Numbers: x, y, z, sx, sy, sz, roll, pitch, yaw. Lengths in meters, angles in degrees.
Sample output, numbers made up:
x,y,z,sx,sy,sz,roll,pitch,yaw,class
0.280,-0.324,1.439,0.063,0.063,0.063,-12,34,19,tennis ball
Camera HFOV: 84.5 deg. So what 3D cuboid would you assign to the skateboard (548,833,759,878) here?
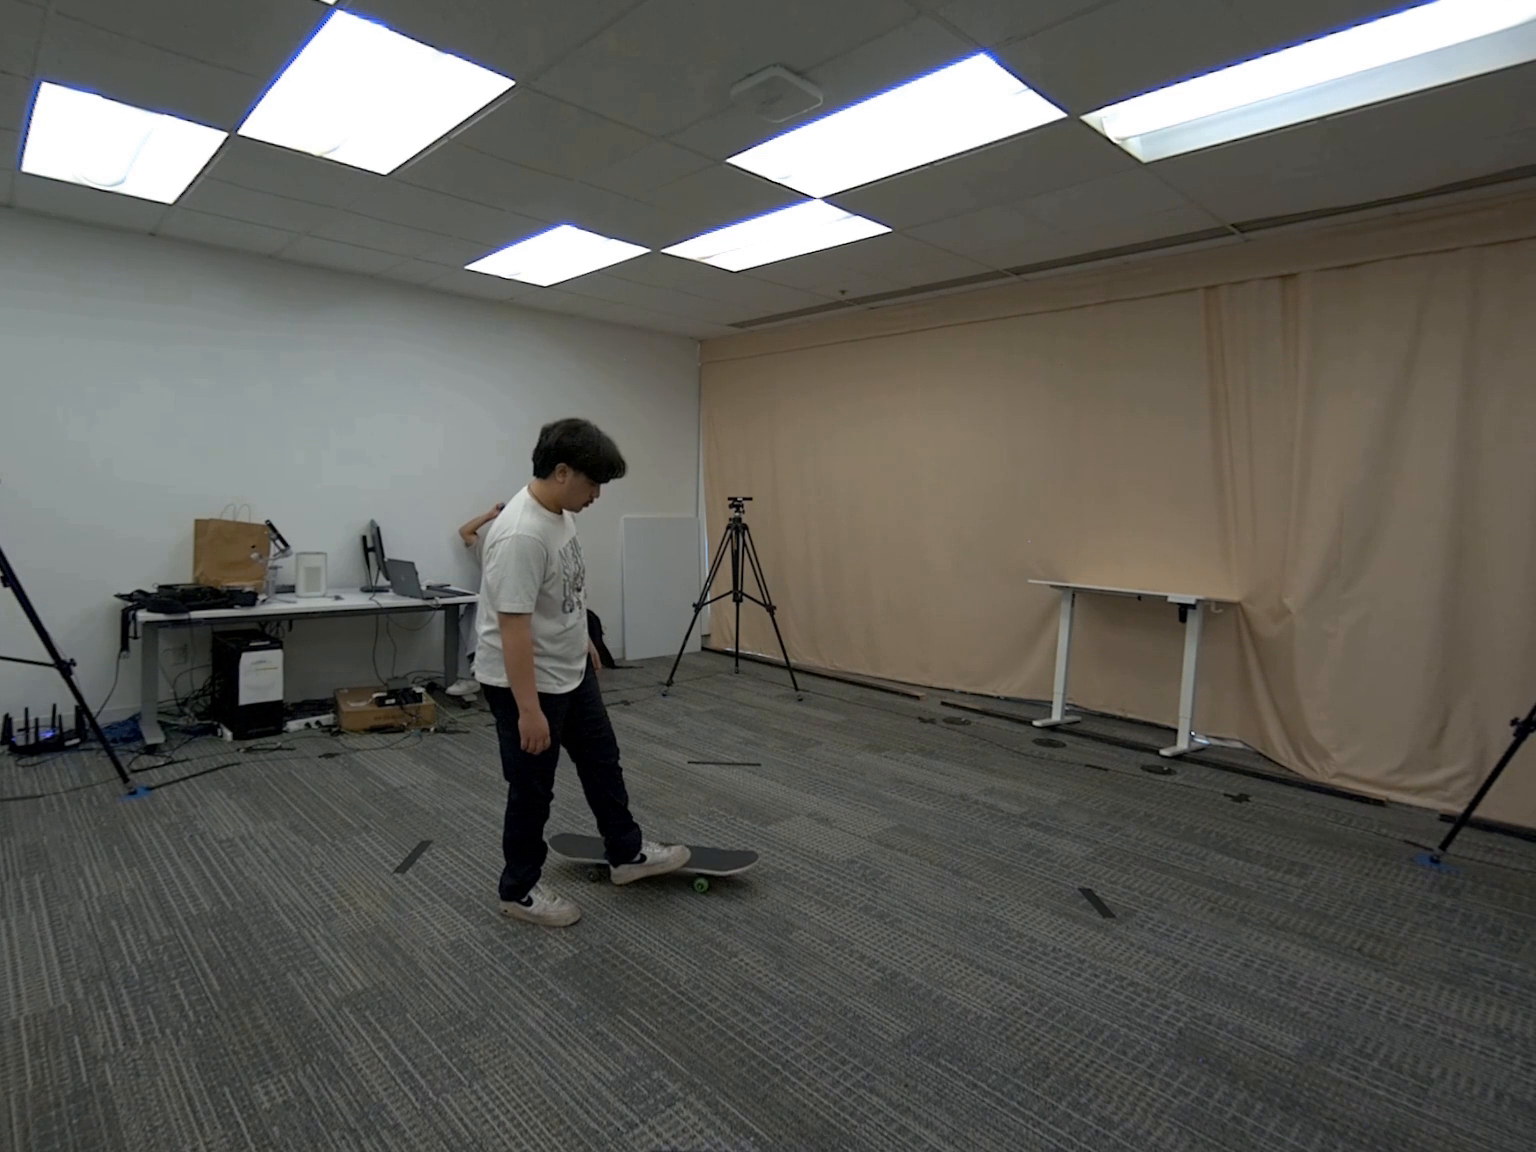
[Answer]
x,y,z,sx,sy,sz,roll,pitch,yaw,class
-0.424,1.045,3.080,0.792,0.110,0.192,2,5,10,skateboard
